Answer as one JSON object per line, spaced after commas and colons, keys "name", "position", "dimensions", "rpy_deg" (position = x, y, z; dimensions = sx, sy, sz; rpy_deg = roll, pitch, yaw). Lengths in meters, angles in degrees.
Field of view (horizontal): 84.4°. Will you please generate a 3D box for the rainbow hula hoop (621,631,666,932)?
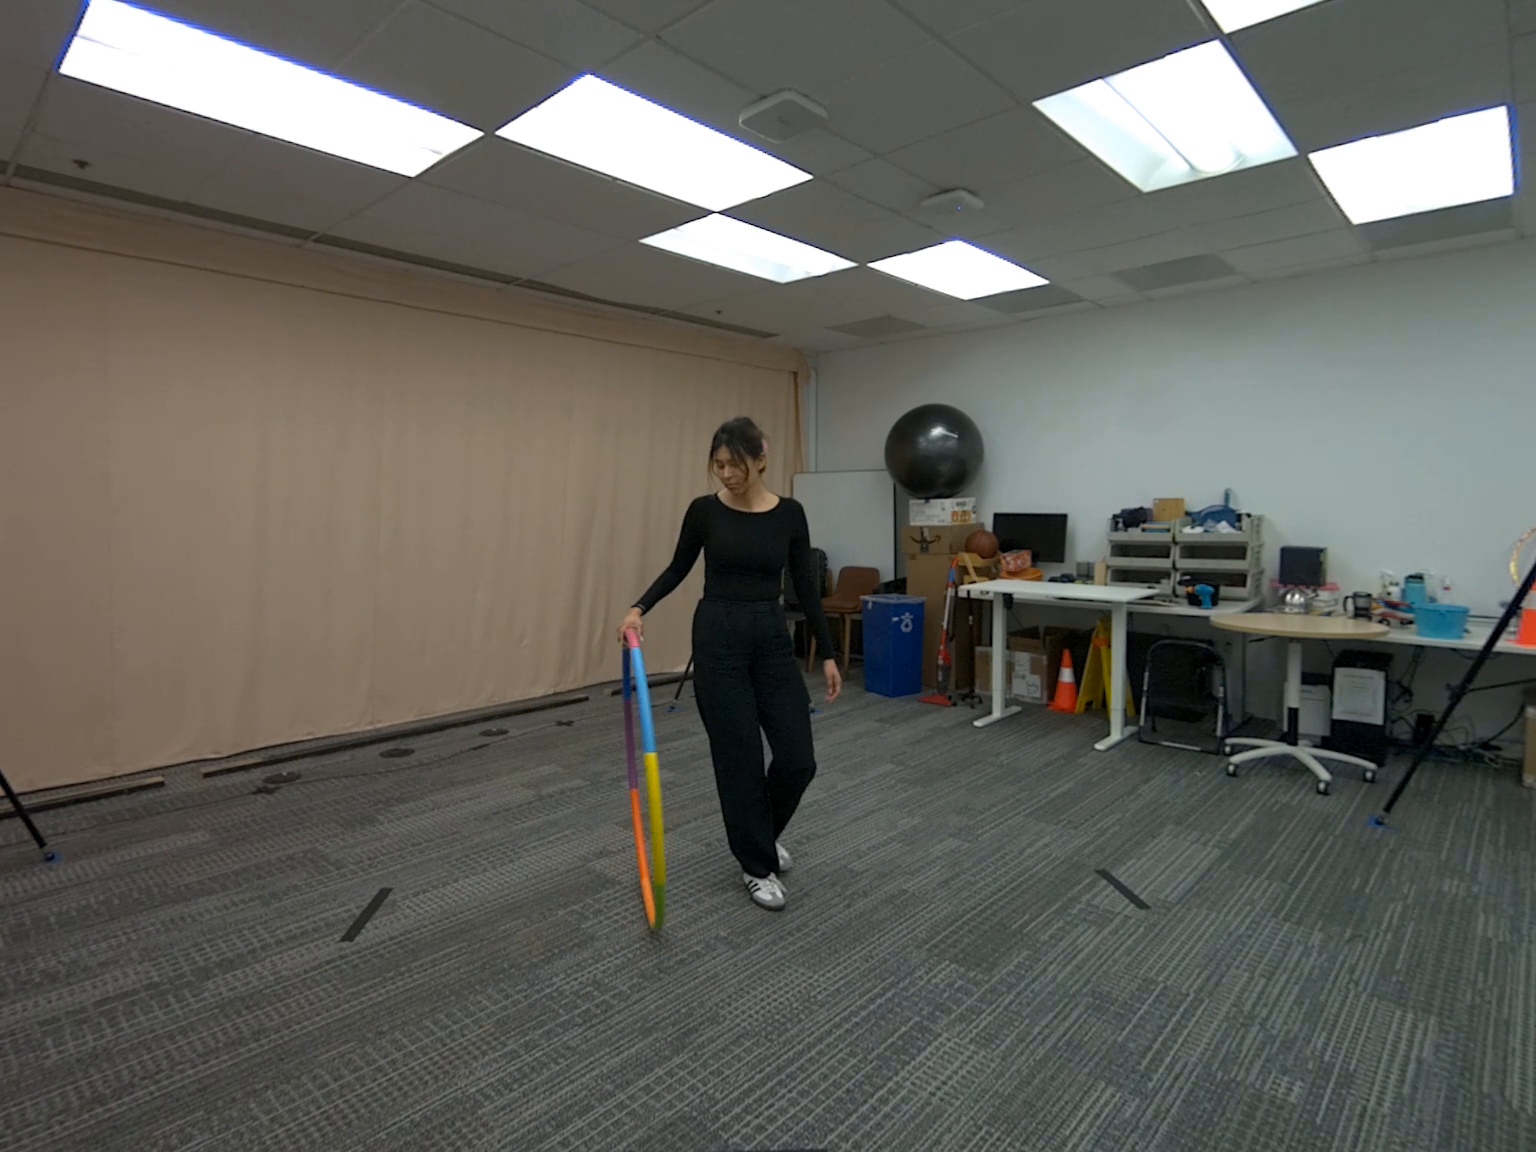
{"name": "rainbow hula hoop", "position": [-0.420, 0.669, 2.838], "dimensions": [0.035, 0.976, 0.992], "rpy_deg": [-3, 4, -12]}
